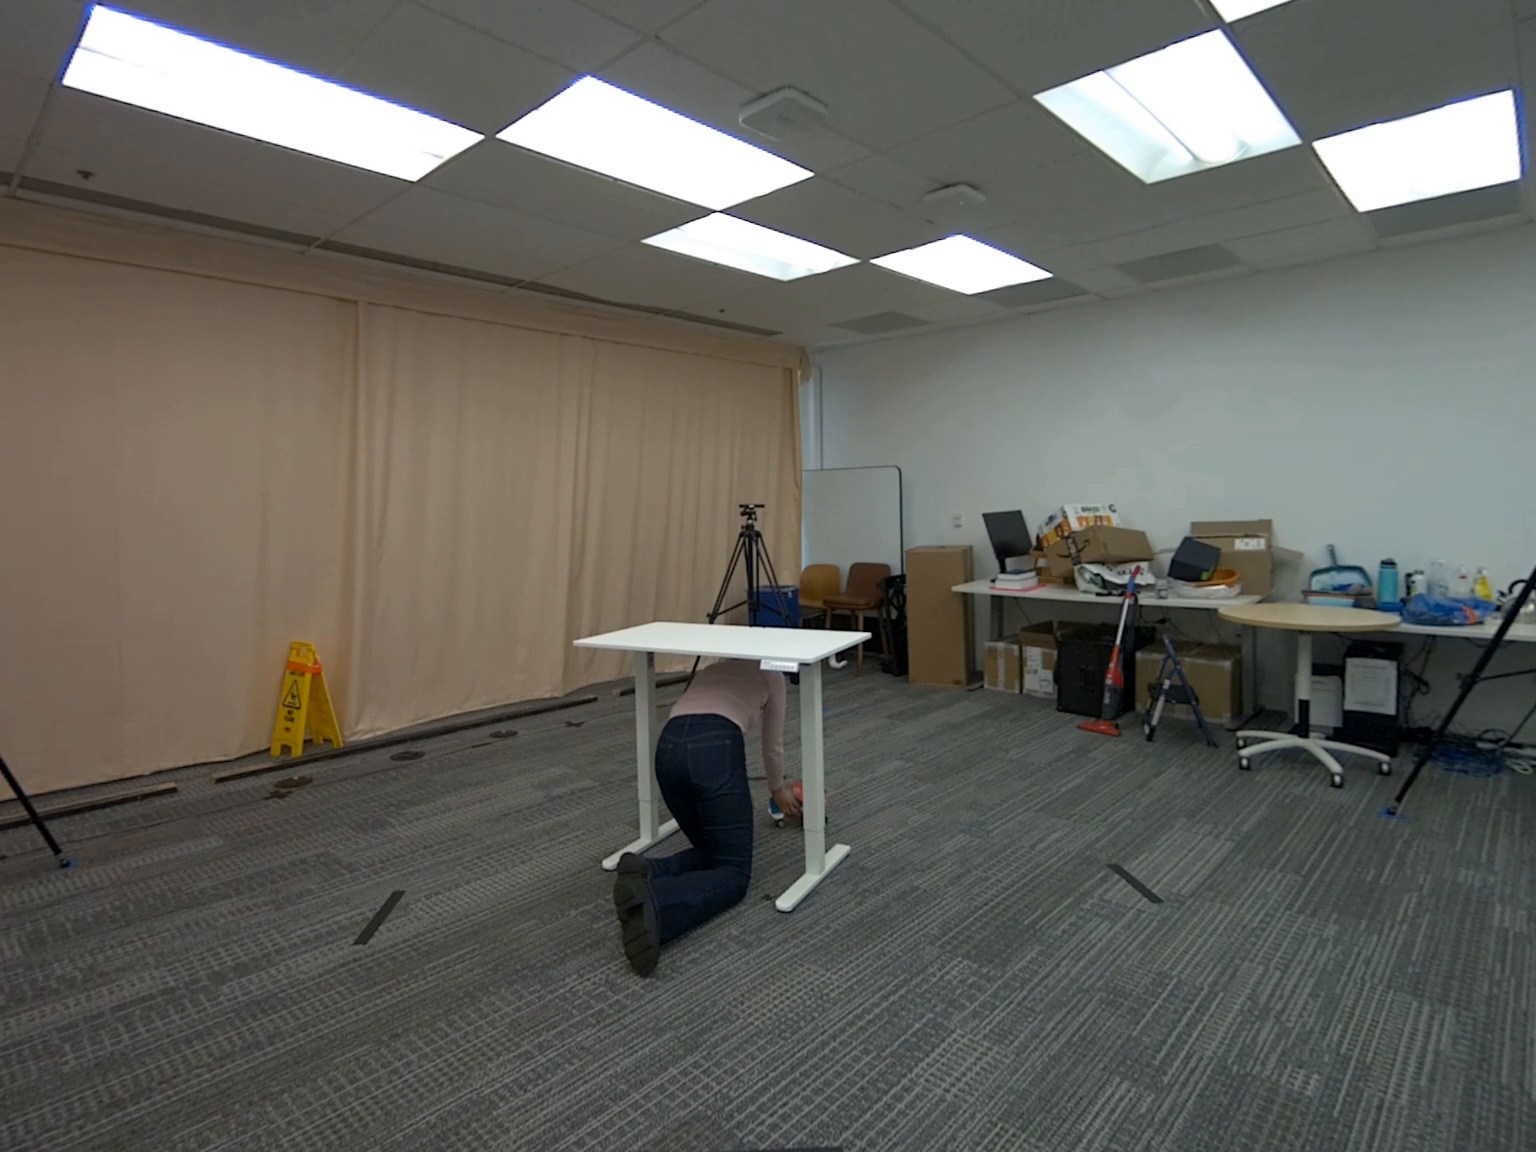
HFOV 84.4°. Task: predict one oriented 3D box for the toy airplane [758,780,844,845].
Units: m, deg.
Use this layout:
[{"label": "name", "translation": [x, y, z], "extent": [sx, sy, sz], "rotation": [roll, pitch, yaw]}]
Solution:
[{"label": "toy airplane", "translation": [0.139, 1.009, 3.645], "extent": [0.251, 0.156, 0.259], "rotation": [-3, 4, -41]}]
